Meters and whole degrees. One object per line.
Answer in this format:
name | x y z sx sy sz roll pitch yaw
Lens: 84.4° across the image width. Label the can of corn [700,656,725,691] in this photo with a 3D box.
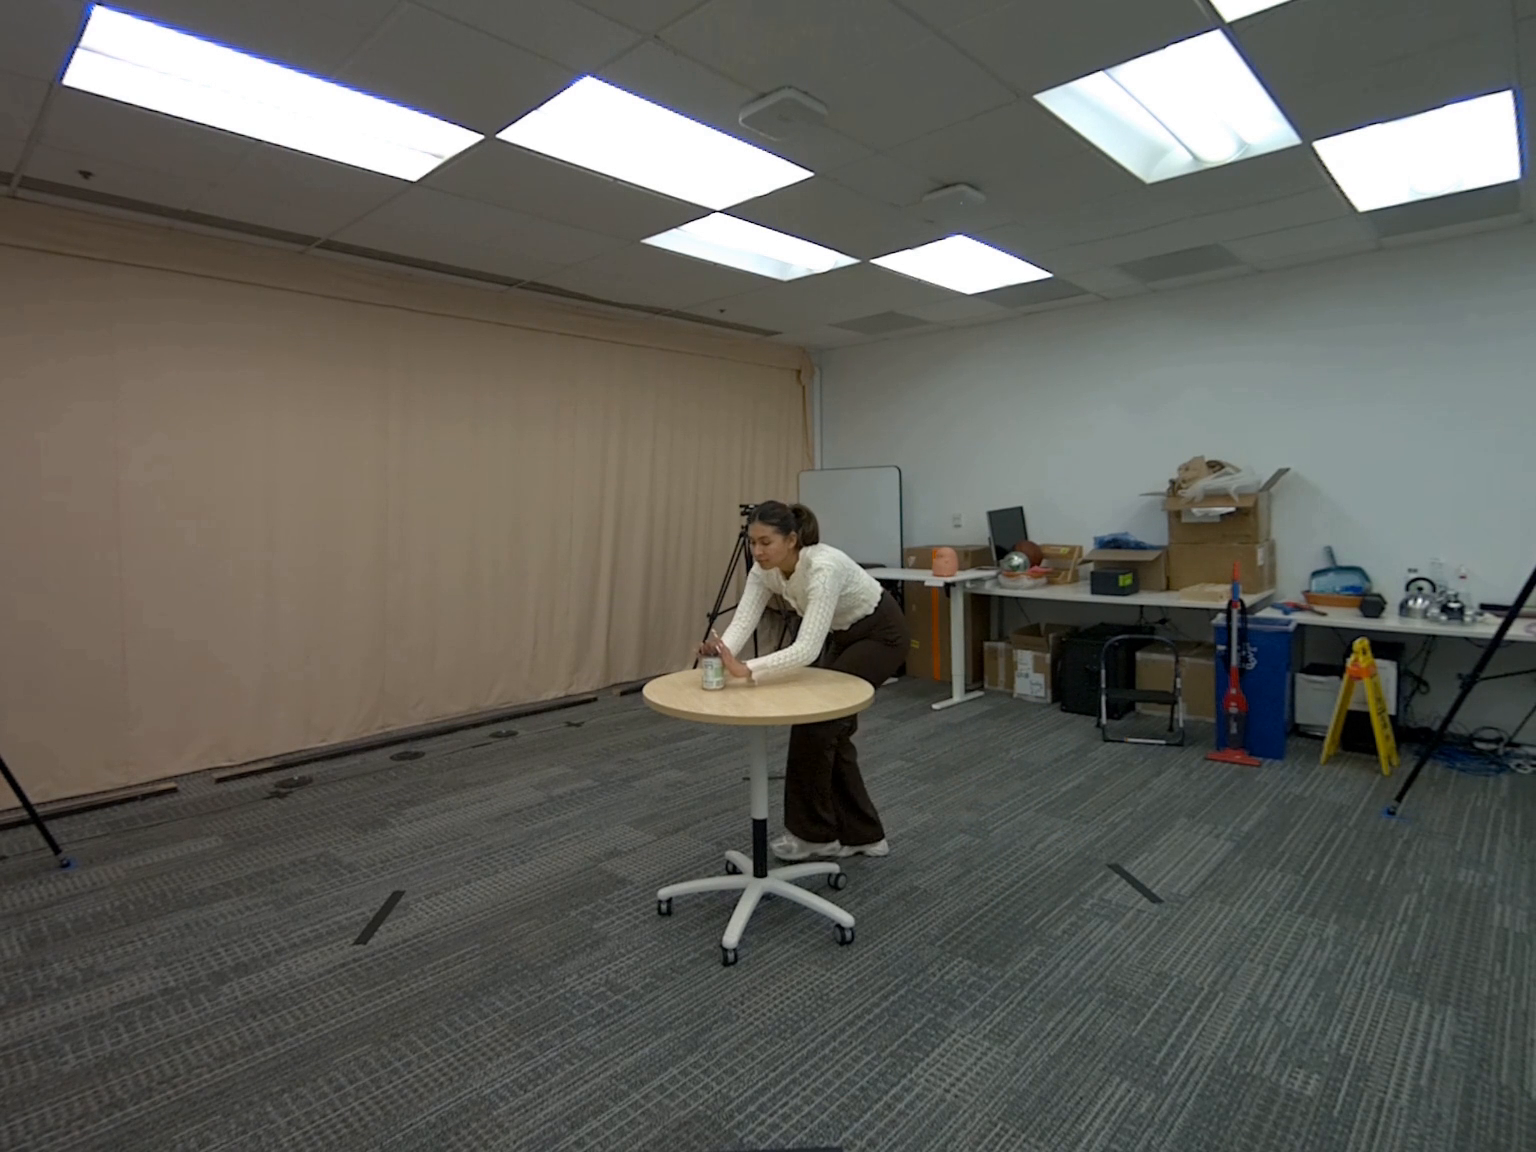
can of corn | -0.183 0.321 2.805 0.074 0.111 0.074 0 0 -2
